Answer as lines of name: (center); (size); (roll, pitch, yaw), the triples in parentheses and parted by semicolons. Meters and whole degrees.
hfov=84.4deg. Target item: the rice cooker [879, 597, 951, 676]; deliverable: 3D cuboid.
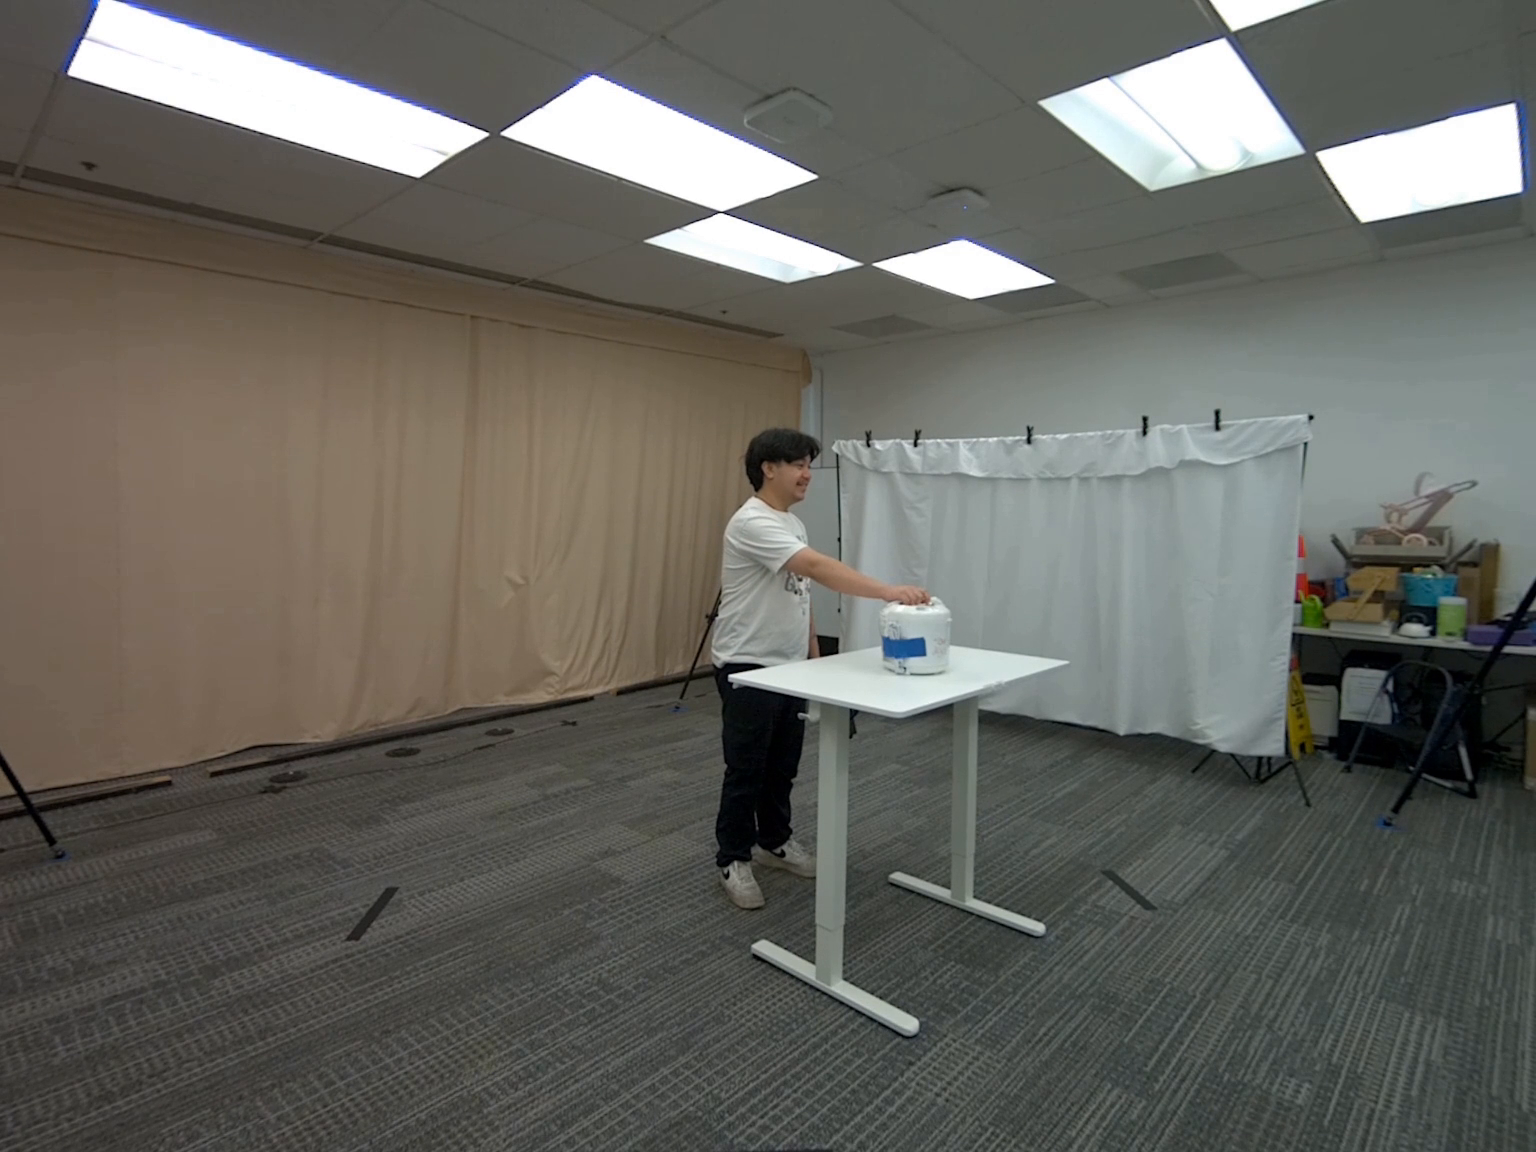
rice cooker: (0.461, 0.179, 2.595); (0.219, 0.232, 0.219); (1, 4, -6)
